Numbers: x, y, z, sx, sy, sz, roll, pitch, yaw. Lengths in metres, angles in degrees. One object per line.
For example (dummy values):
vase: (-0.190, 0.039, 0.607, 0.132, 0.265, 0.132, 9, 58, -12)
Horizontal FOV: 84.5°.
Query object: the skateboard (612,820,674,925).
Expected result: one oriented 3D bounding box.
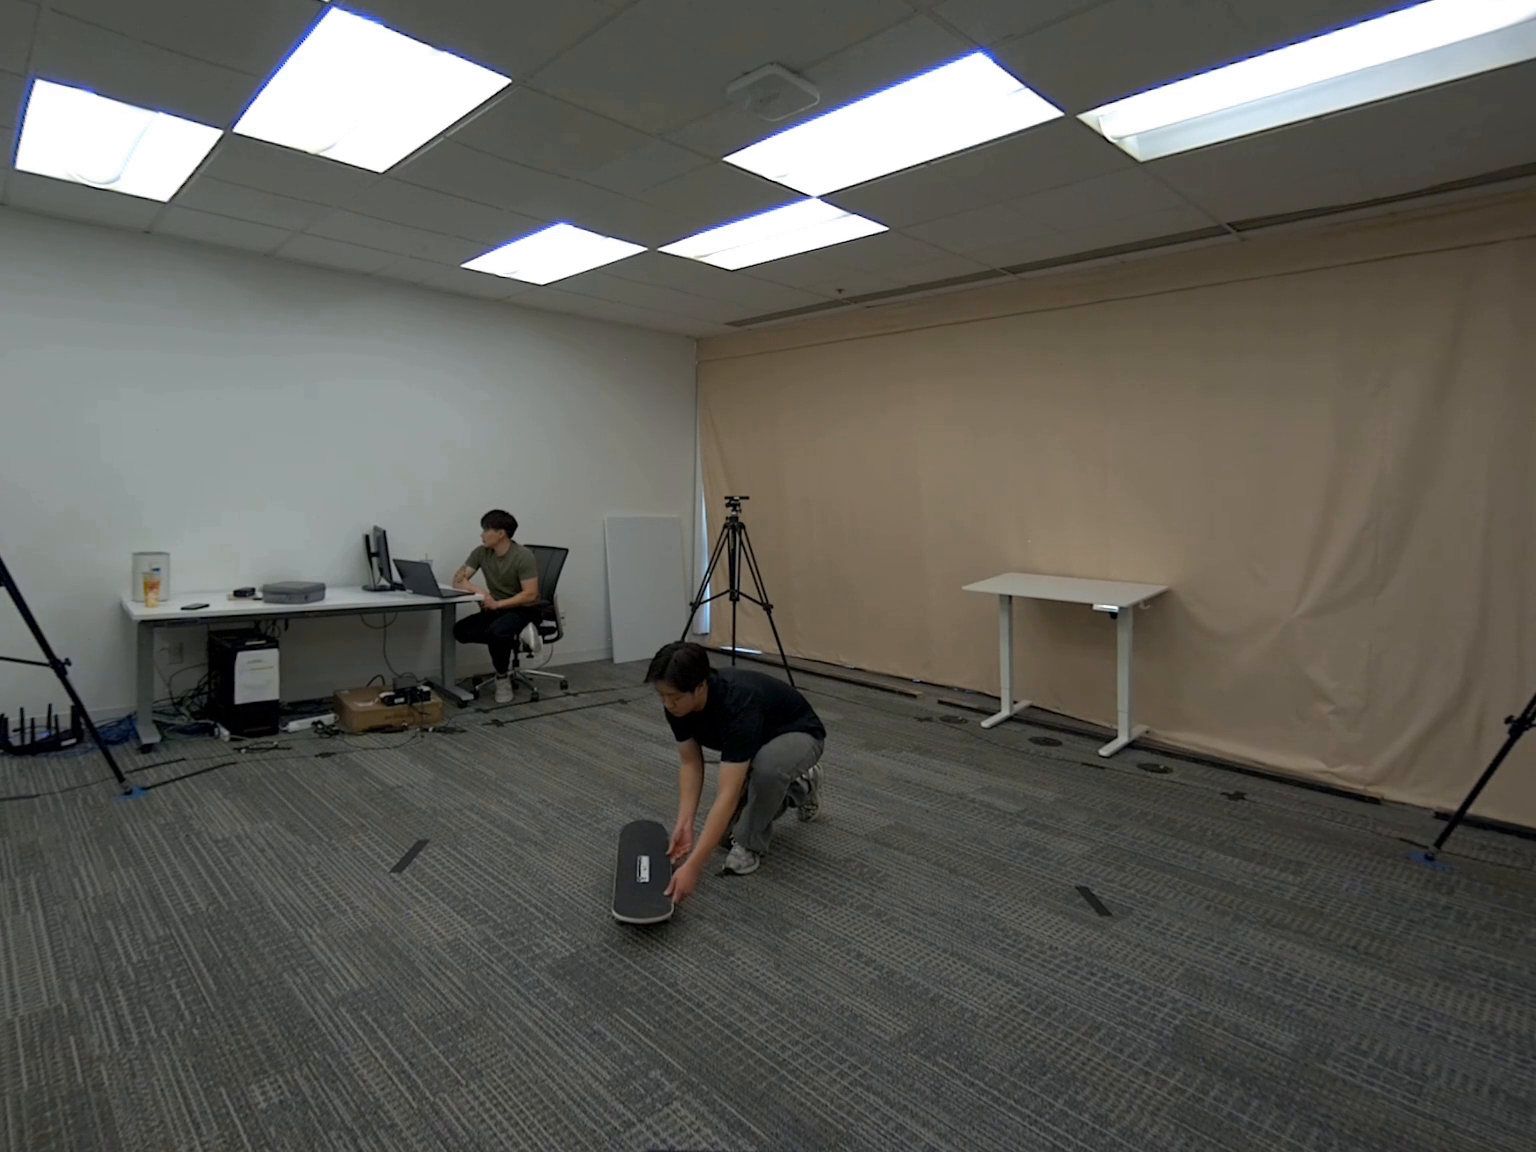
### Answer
skateboard: (-0.435, 1.047, 2.943, 0.192, 0.110, 0.793, 0, 5, -9)
